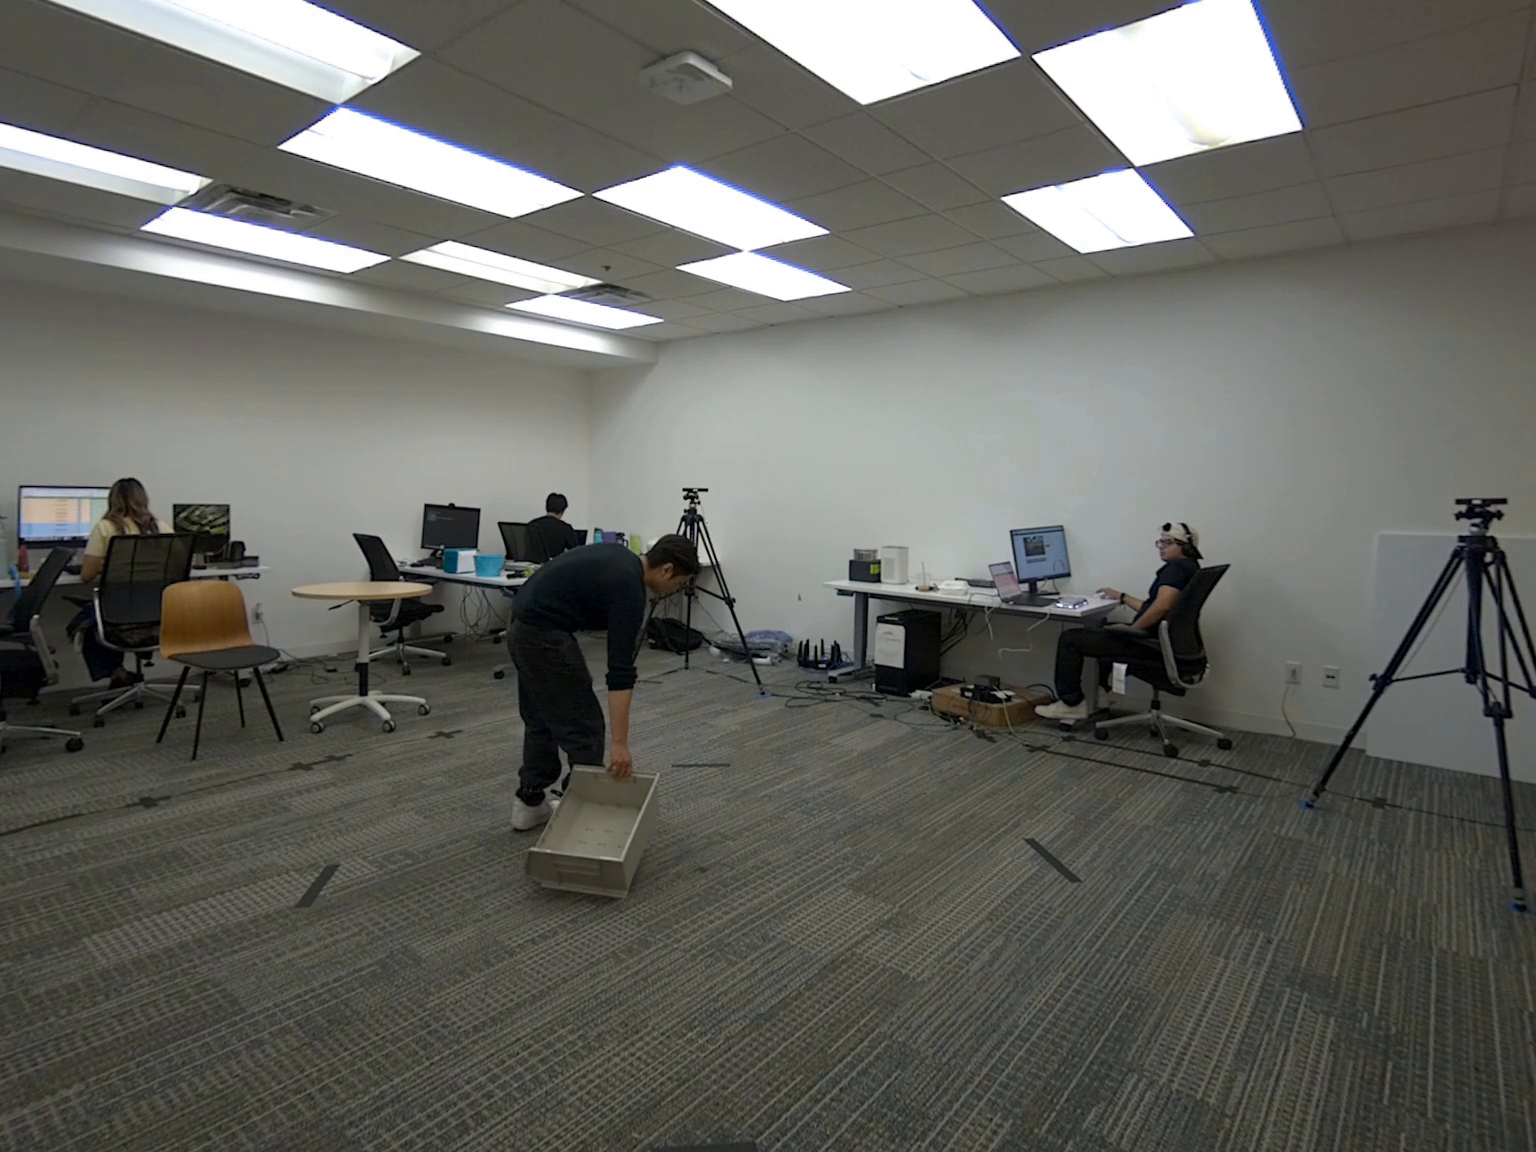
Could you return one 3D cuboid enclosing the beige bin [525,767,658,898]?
[{"bbox_3d":[-0.624,0.901,3.047,0.382,0.184,0.427,2,27,10],"label":"beige bin"}]
